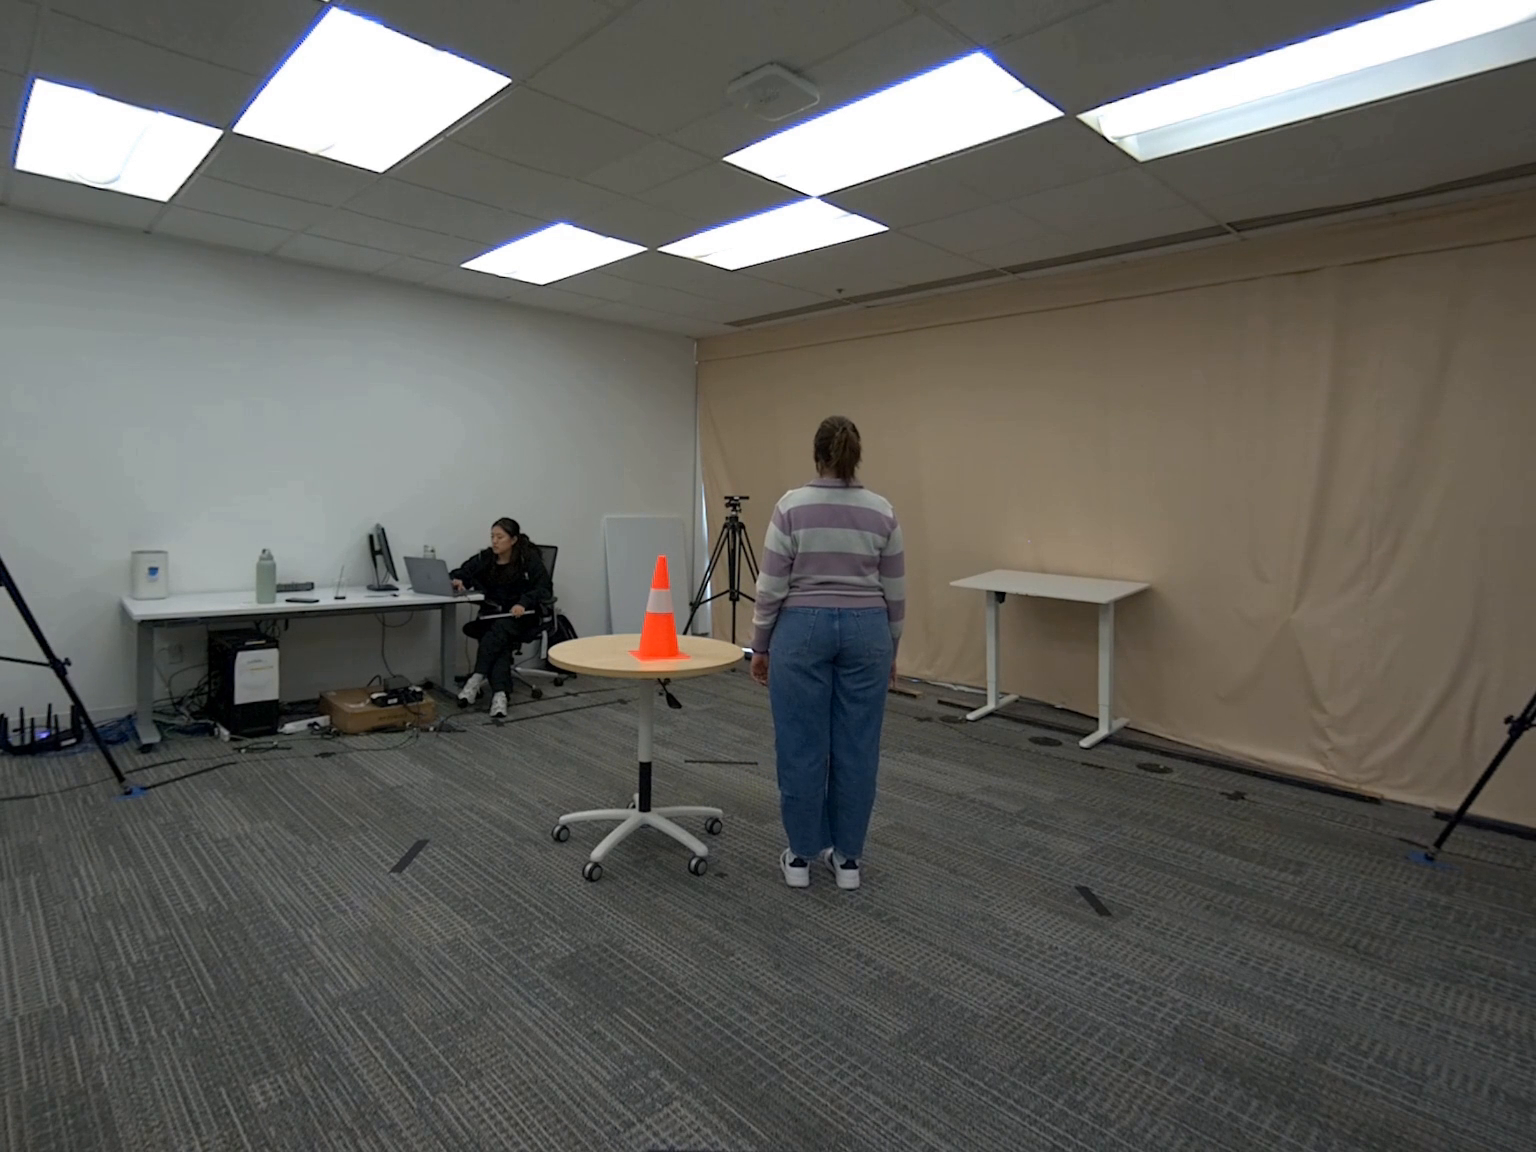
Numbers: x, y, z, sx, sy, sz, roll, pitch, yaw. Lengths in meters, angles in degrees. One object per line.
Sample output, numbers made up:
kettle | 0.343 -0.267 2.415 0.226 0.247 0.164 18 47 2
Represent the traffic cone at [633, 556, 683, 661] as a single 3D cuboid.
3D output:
traffic cone | -0.419 0.114 3.222 0.202 0.383 0.207 1 2 -22
